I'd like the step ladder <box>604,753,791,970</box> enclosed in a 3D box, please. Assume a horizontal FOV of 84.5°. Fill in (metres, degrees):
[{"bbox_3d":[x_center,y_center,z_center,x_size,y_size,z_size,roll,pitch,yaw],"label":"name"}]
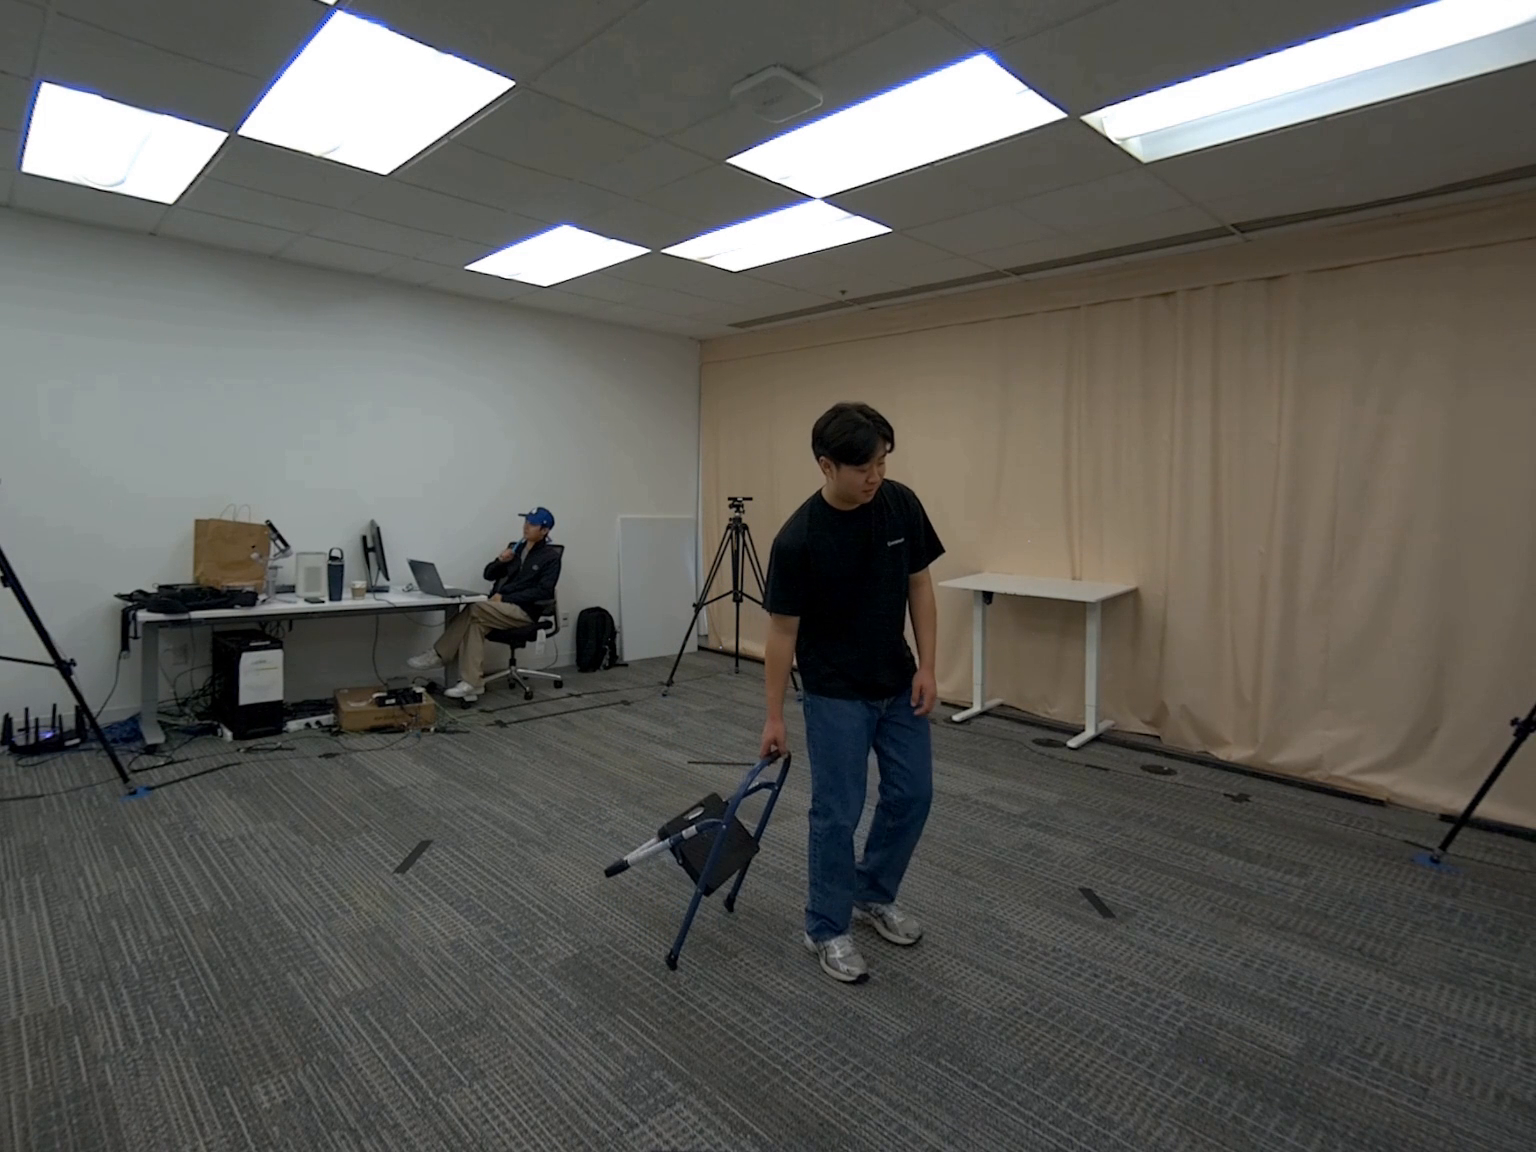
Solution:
[{"bbox_3d":[-0.124,0.807,2.609,0.355,0.605,0.423,47,20,15],"label":"step ladder"}]
